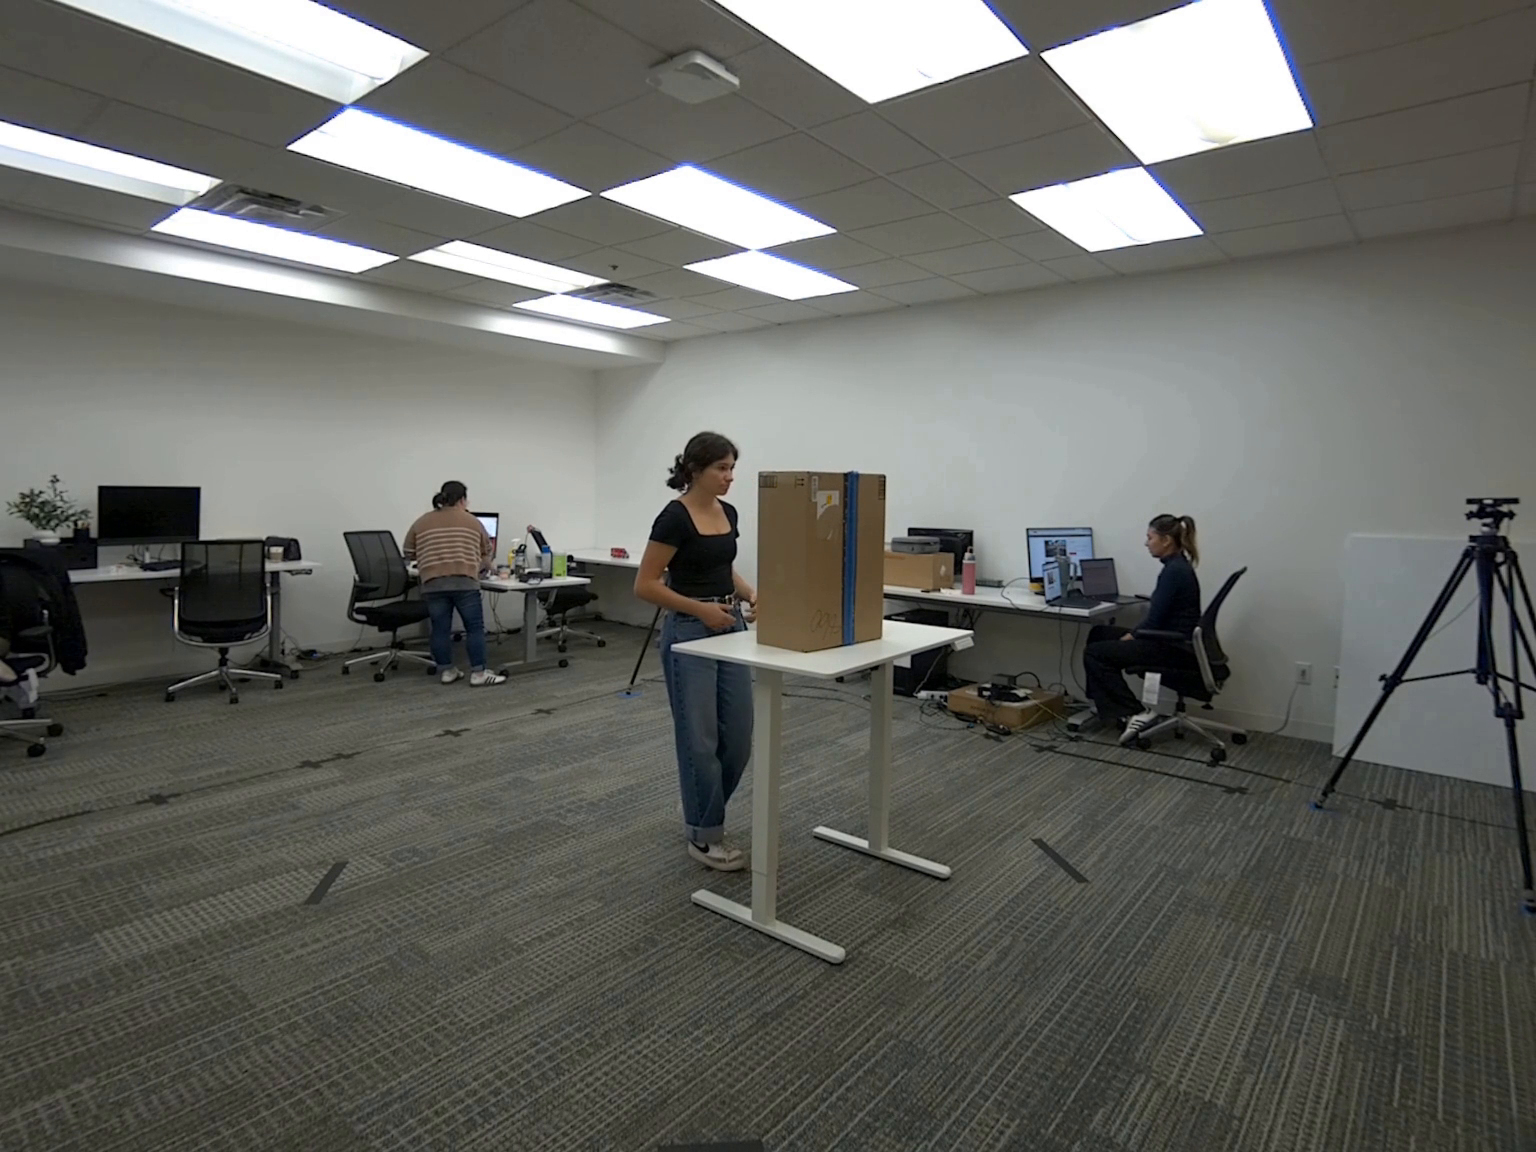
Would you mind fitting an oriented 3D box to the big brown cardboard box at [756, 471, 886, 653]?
[{"bbox_3d":[0.176,-0.071,2.848,0.241,0.586,0.405,5,7,44],"label":"big brown cardboard box"}]
